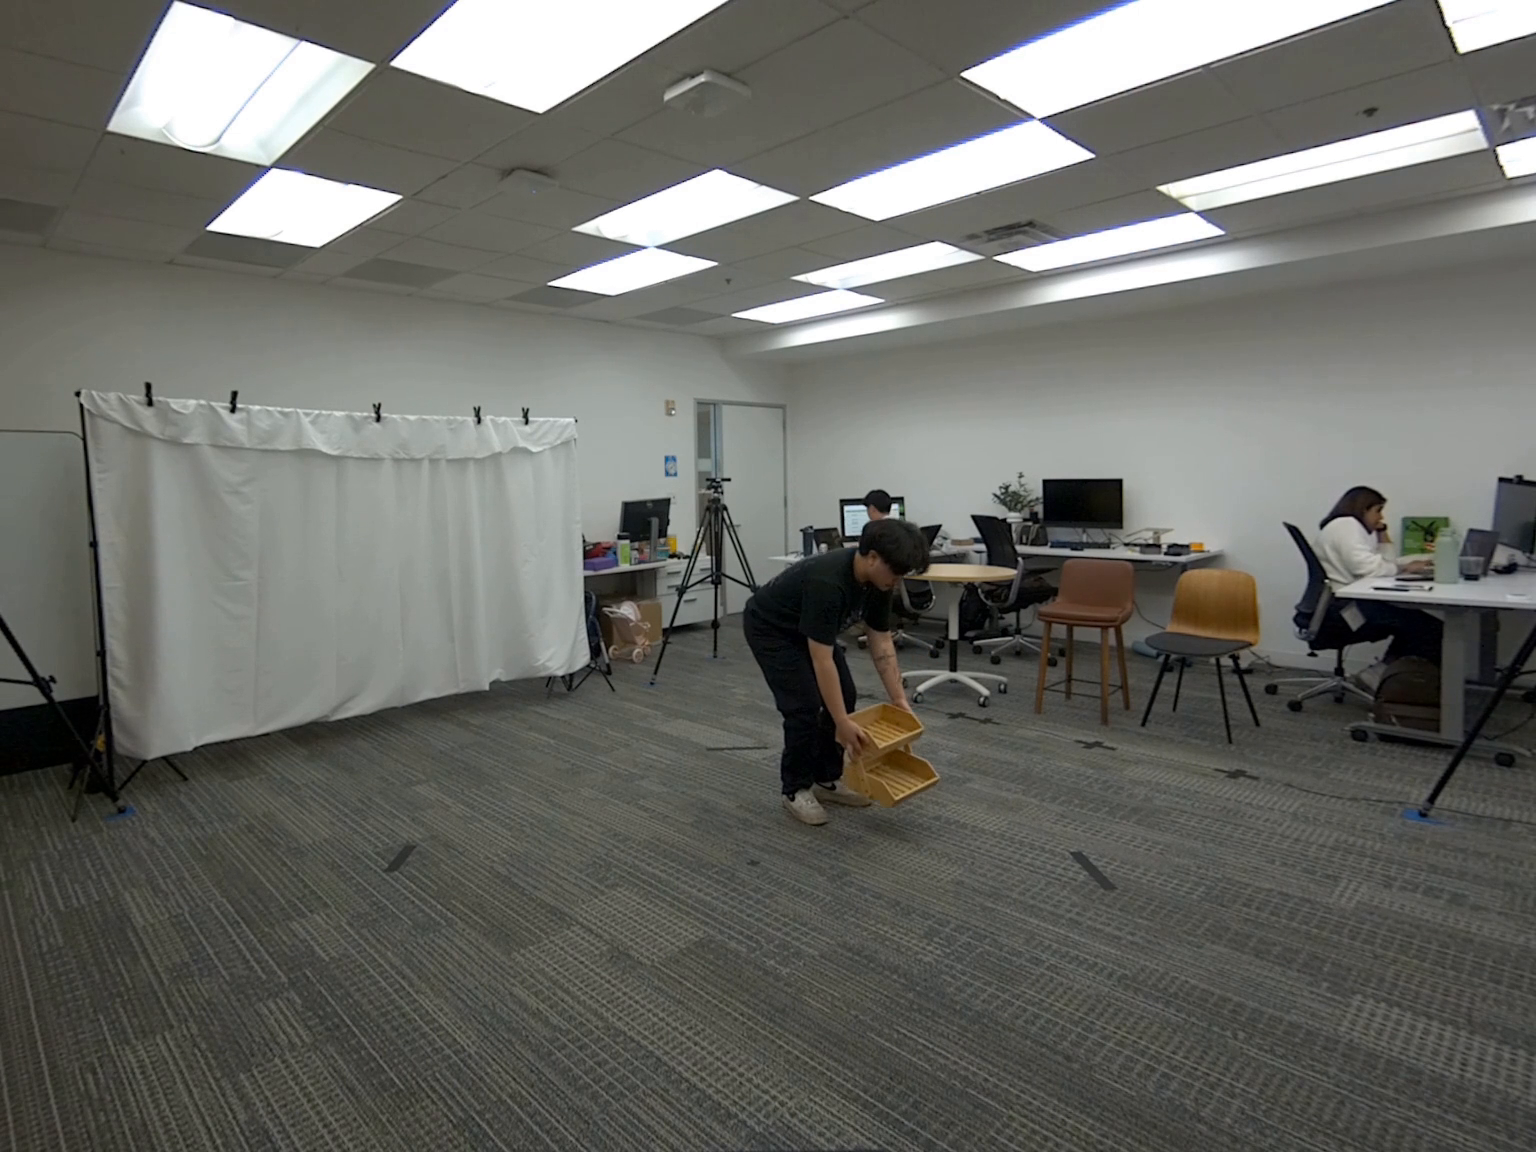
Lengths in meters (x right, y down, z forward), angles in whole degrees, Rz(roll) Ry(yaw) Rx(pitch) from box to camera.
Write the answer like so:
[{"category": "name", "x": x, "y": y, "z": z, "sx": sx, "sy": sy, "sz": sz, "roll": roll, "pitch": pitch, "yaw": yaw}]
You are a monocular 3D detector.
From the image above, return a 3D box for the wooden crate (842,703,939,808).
[{"category": "wooden crate", "x": 0.468, "y": 0.684, "z": 3.353, "sx": 0.312, "sy": 0.271, "sz": 0.316, "roll": 14, "pitch": 16, "yaw": 43}]
